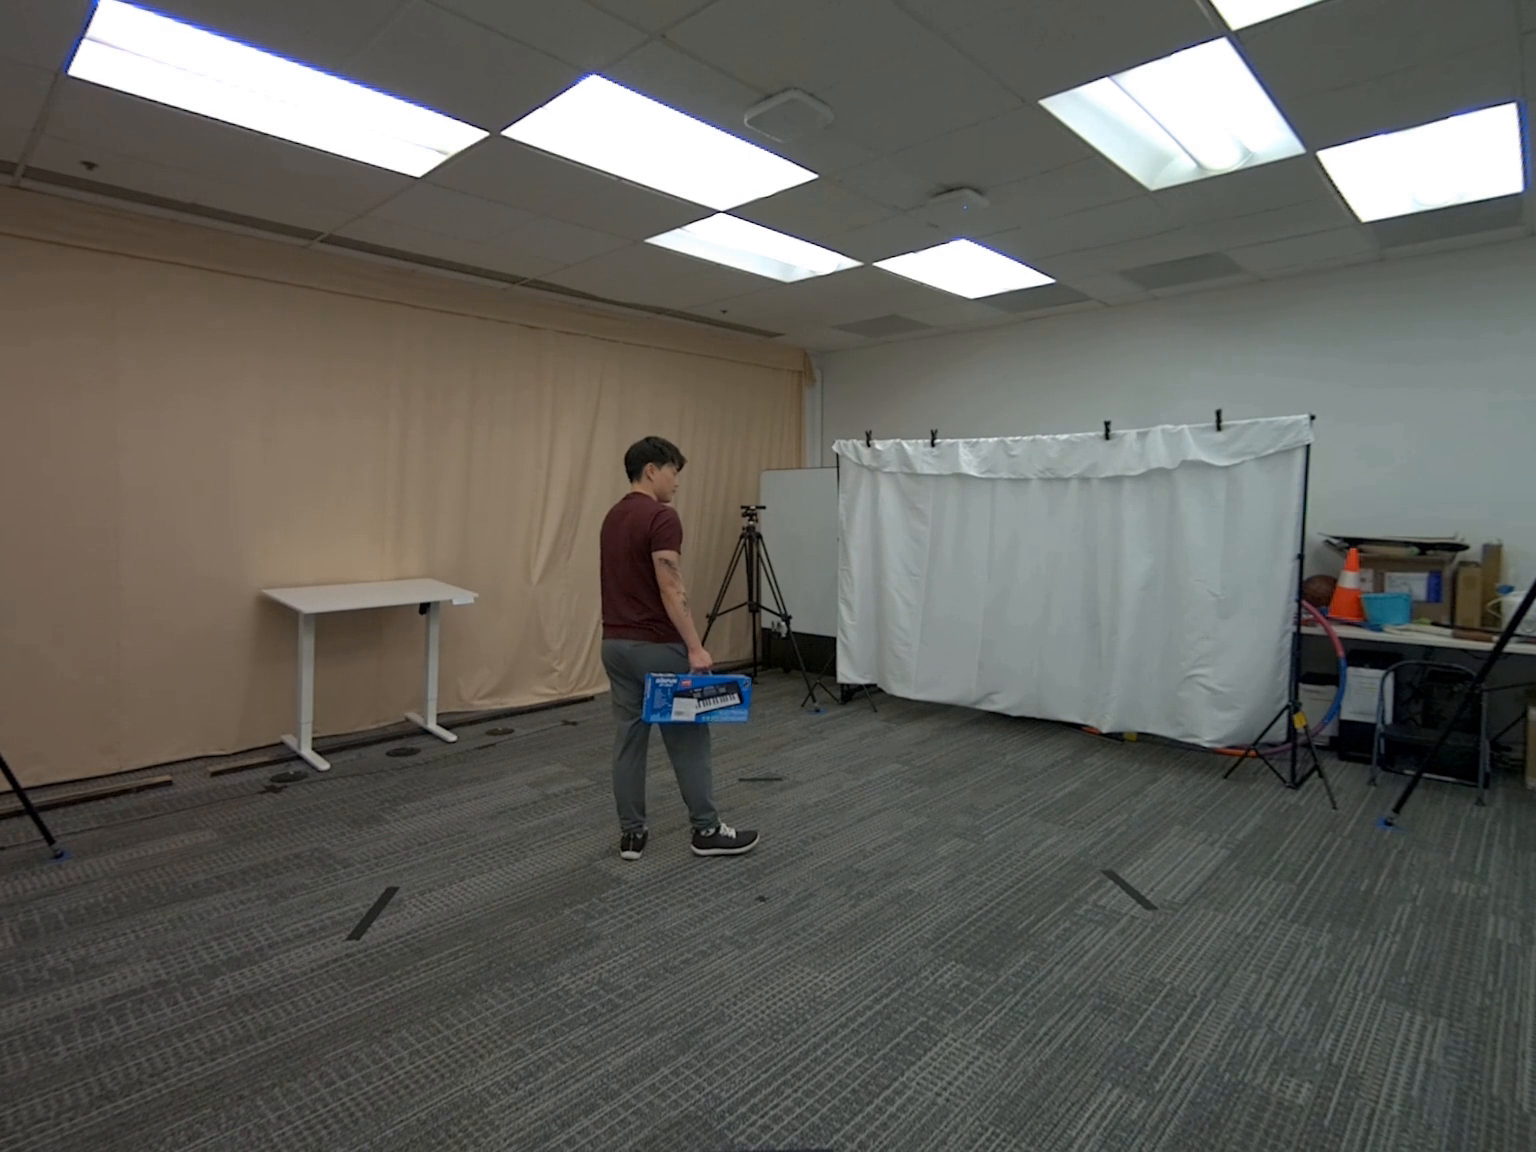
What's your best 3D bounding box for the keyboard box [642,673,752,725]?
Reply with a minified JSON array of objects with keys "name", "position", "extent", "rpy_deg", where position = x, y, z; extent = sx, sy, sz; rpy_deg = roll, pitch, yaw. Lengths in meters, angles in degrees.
[{"name":"keyboard box","position":[-0.256,0.465,3.190],"extent":[0.423,0.176,0.061],"rpy_deg":[6,-1,-32]}]
